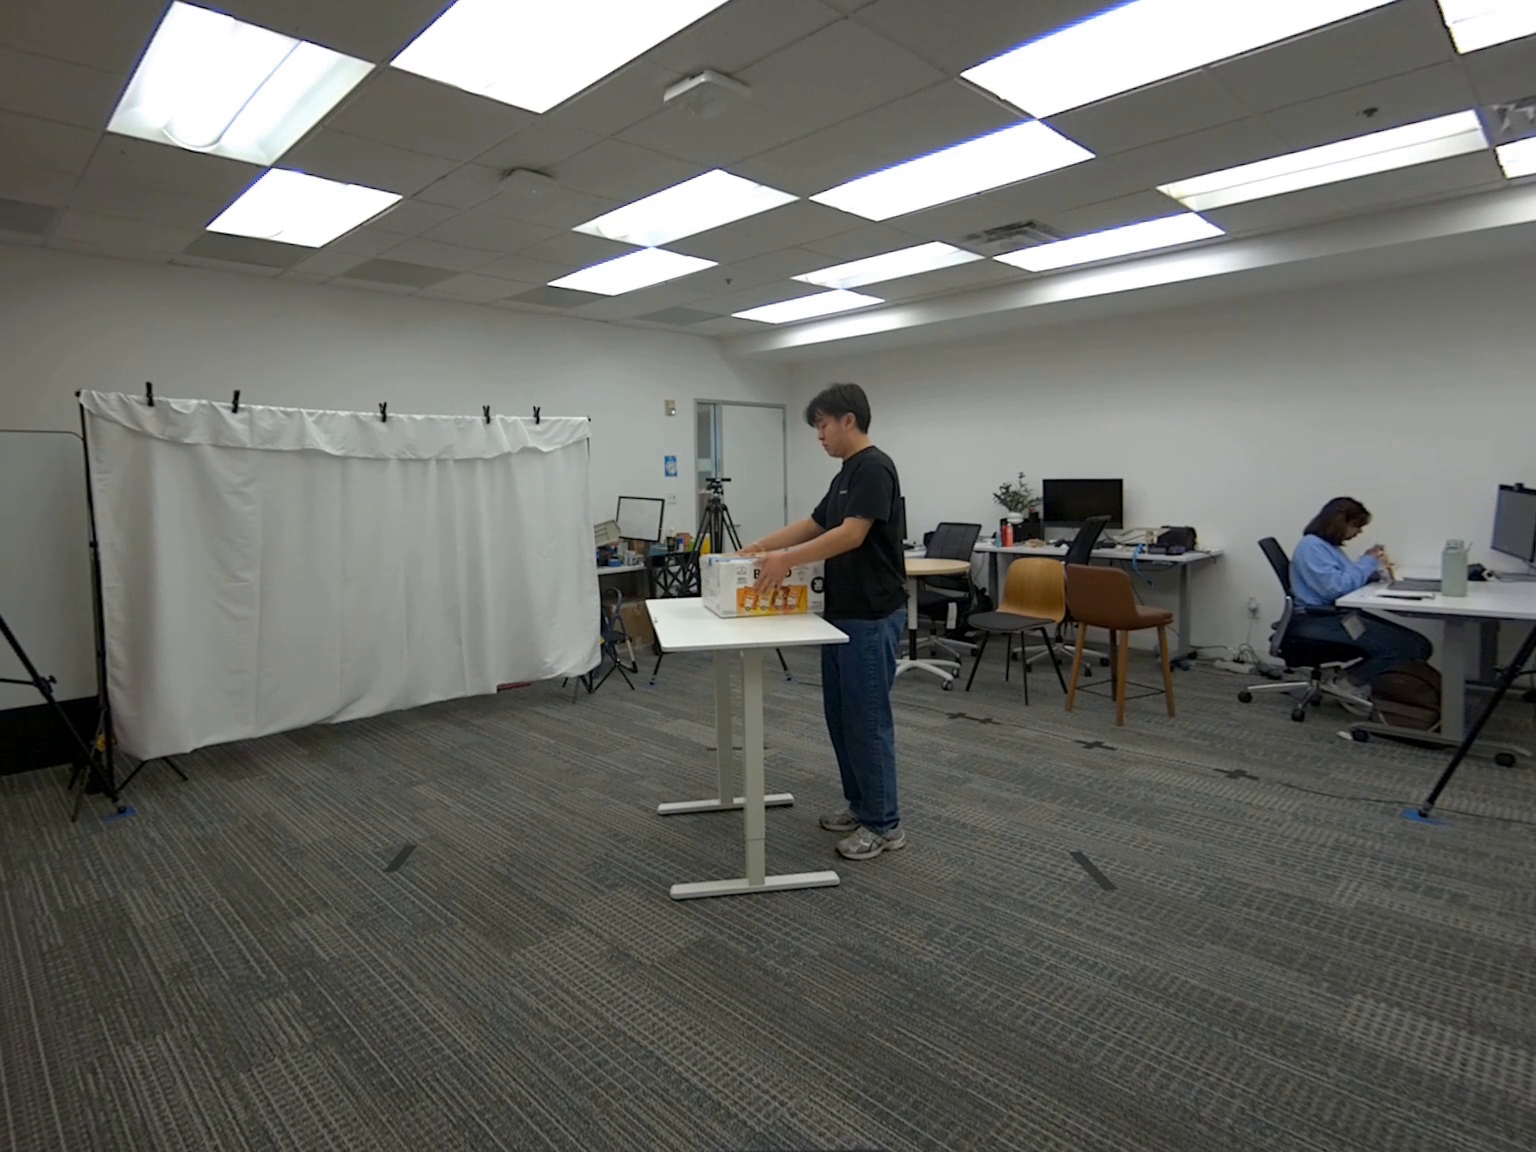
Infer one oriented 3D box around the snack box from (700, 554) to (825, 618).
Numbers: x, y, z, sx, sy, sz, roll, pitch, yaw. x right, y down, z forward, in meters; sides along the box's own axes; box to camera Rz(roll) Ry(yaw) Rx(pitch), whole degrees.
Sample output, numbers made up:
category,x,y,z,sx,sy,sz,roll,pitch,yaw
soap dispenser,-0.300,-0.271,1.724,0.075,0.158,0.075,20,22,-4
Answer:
category,x,y,z,sx,sy,sz,roll,pitch,yaw
snack box,-0.025,0.020,3.334,0.400,0.205,0.346,-2,6,-15
